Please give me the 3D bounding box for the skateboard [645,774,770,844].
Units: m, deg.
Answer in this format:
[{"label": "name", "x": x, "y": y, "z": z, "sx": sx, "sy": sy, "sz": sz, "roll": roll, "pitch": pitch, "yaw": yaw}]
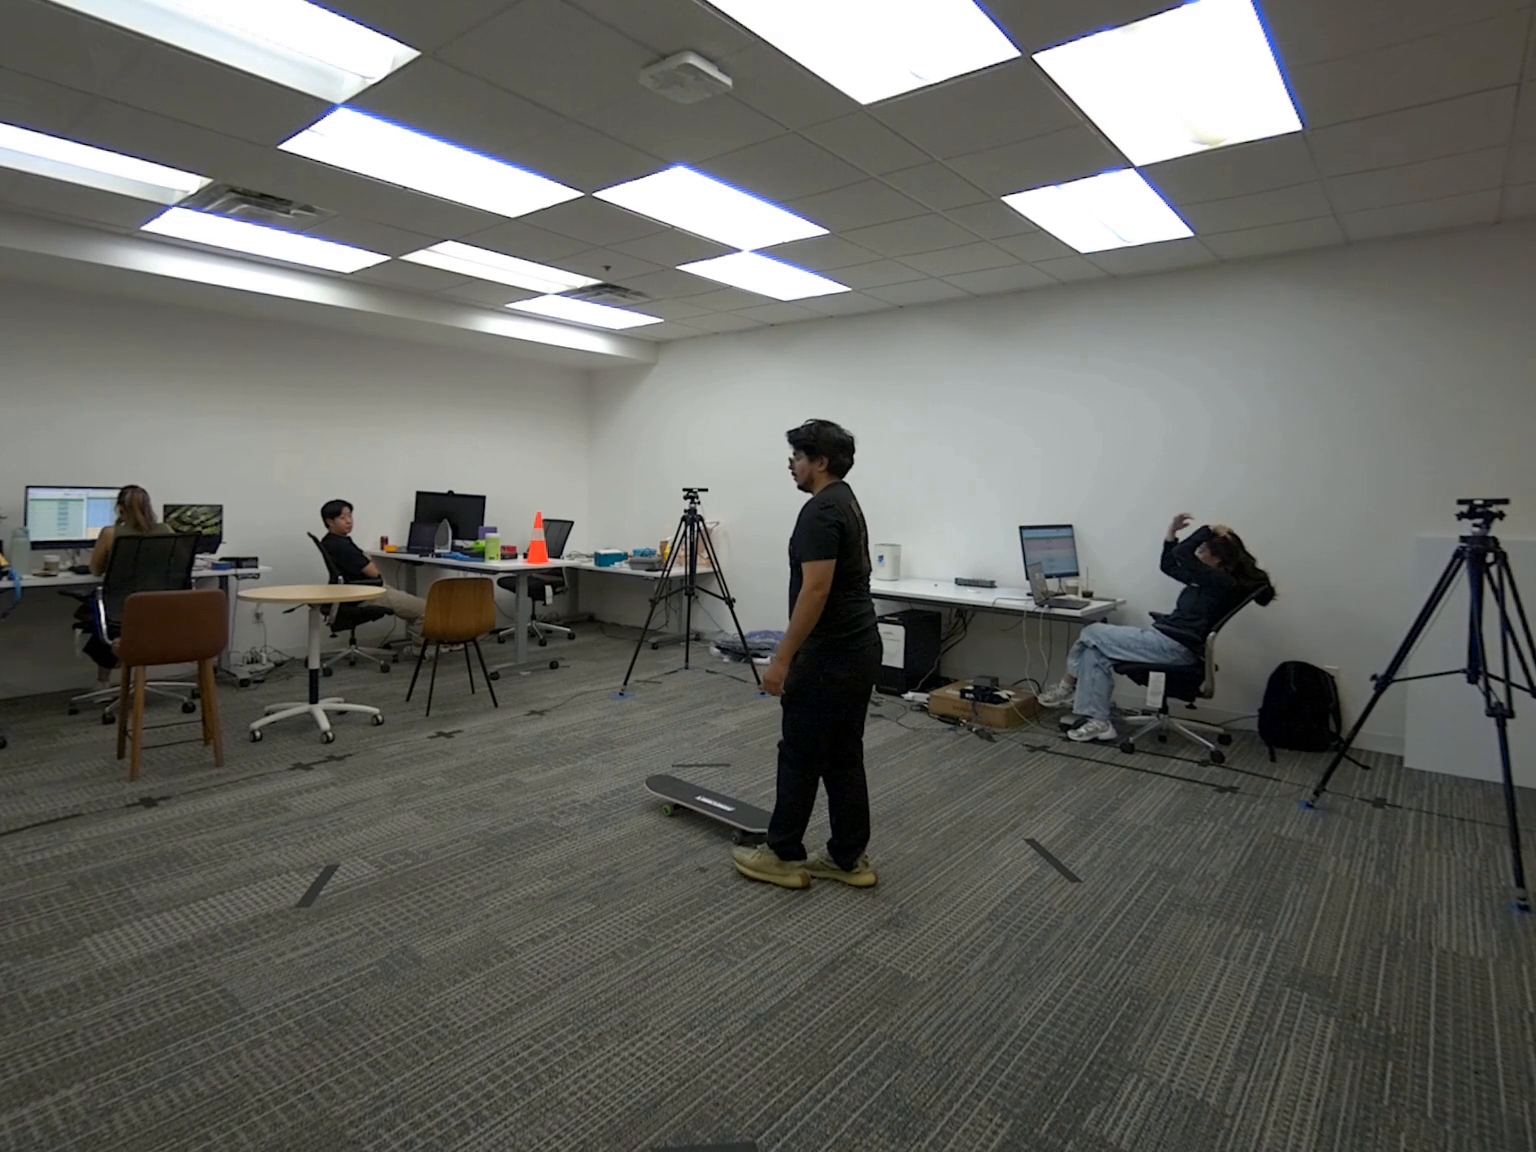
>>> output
[{"label": "skateboard", "x": -0.231, "y": 0.973, "z": 3.532, "sx": 0.812, "sy": 0.110, "sz": 0.188, "roll": 6, "pitch": 7, "yaw": 41}]
